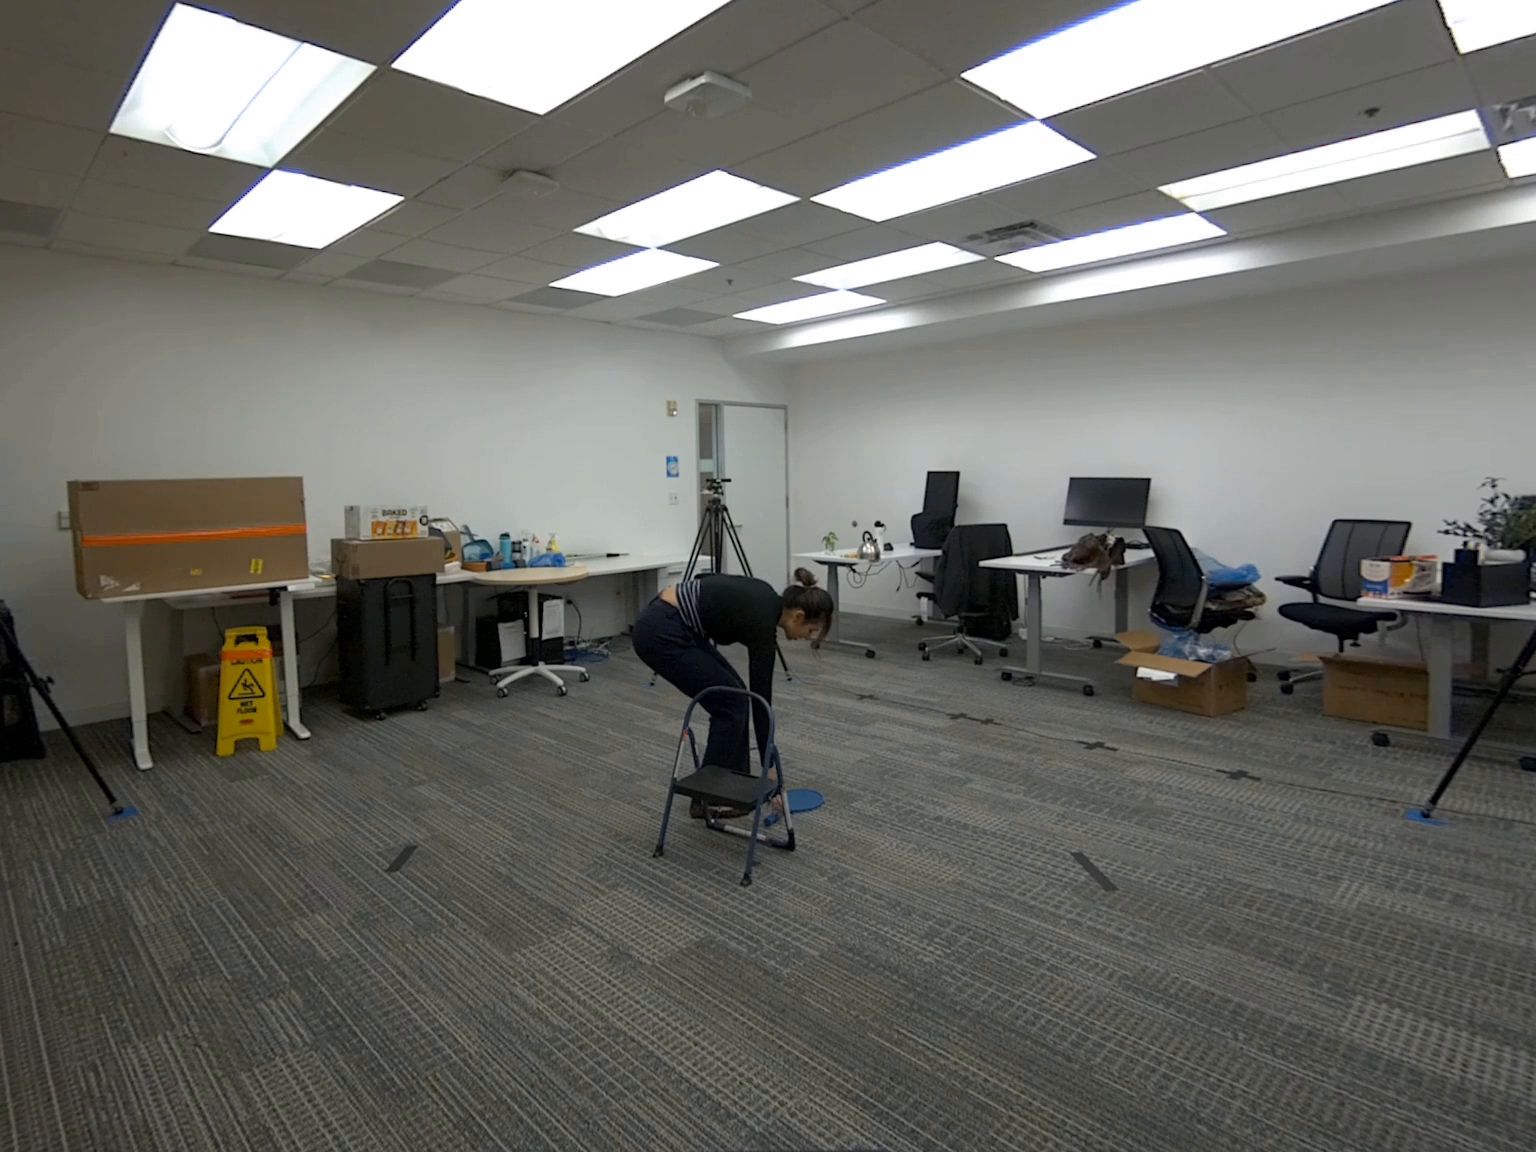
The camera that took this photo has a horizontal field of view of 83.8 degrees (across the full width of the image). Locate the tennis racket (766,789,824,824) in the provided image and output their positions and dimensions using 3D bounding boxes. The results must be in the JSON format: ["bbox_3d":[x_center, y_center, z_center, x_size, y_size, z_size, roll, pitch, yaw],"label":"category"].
[{"bbox_3d":[0.087,0.965,3.618,0.219,0.031,0.424,3,6,27],"label":"tennis racket"}]
